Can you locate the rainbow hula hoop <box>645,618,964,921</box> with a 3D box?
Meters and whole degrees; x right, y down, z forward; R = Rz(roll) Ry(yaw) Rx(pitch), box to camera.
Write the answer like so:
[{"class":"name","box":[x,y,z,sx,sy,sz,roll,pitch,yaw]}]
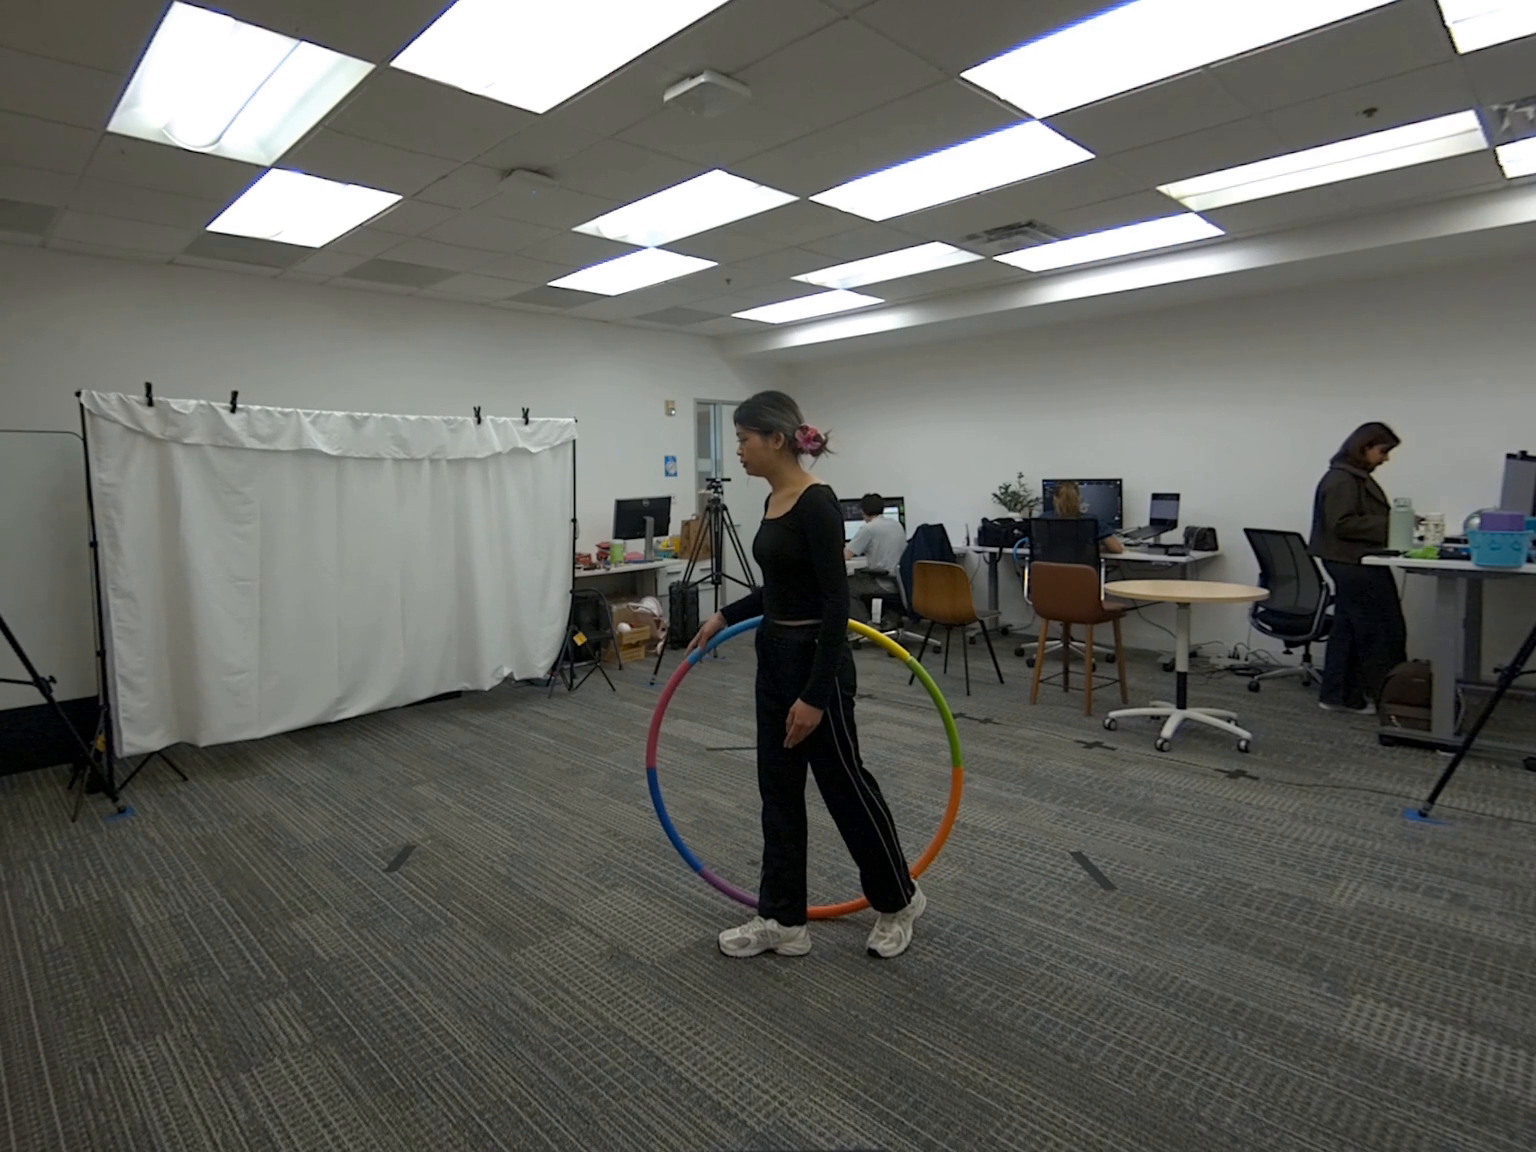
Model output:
[{"class":"rainbow hula hoop","box":[0.109,0.604,2.681,0.984,0.977,0.035,0,2,6]}]
